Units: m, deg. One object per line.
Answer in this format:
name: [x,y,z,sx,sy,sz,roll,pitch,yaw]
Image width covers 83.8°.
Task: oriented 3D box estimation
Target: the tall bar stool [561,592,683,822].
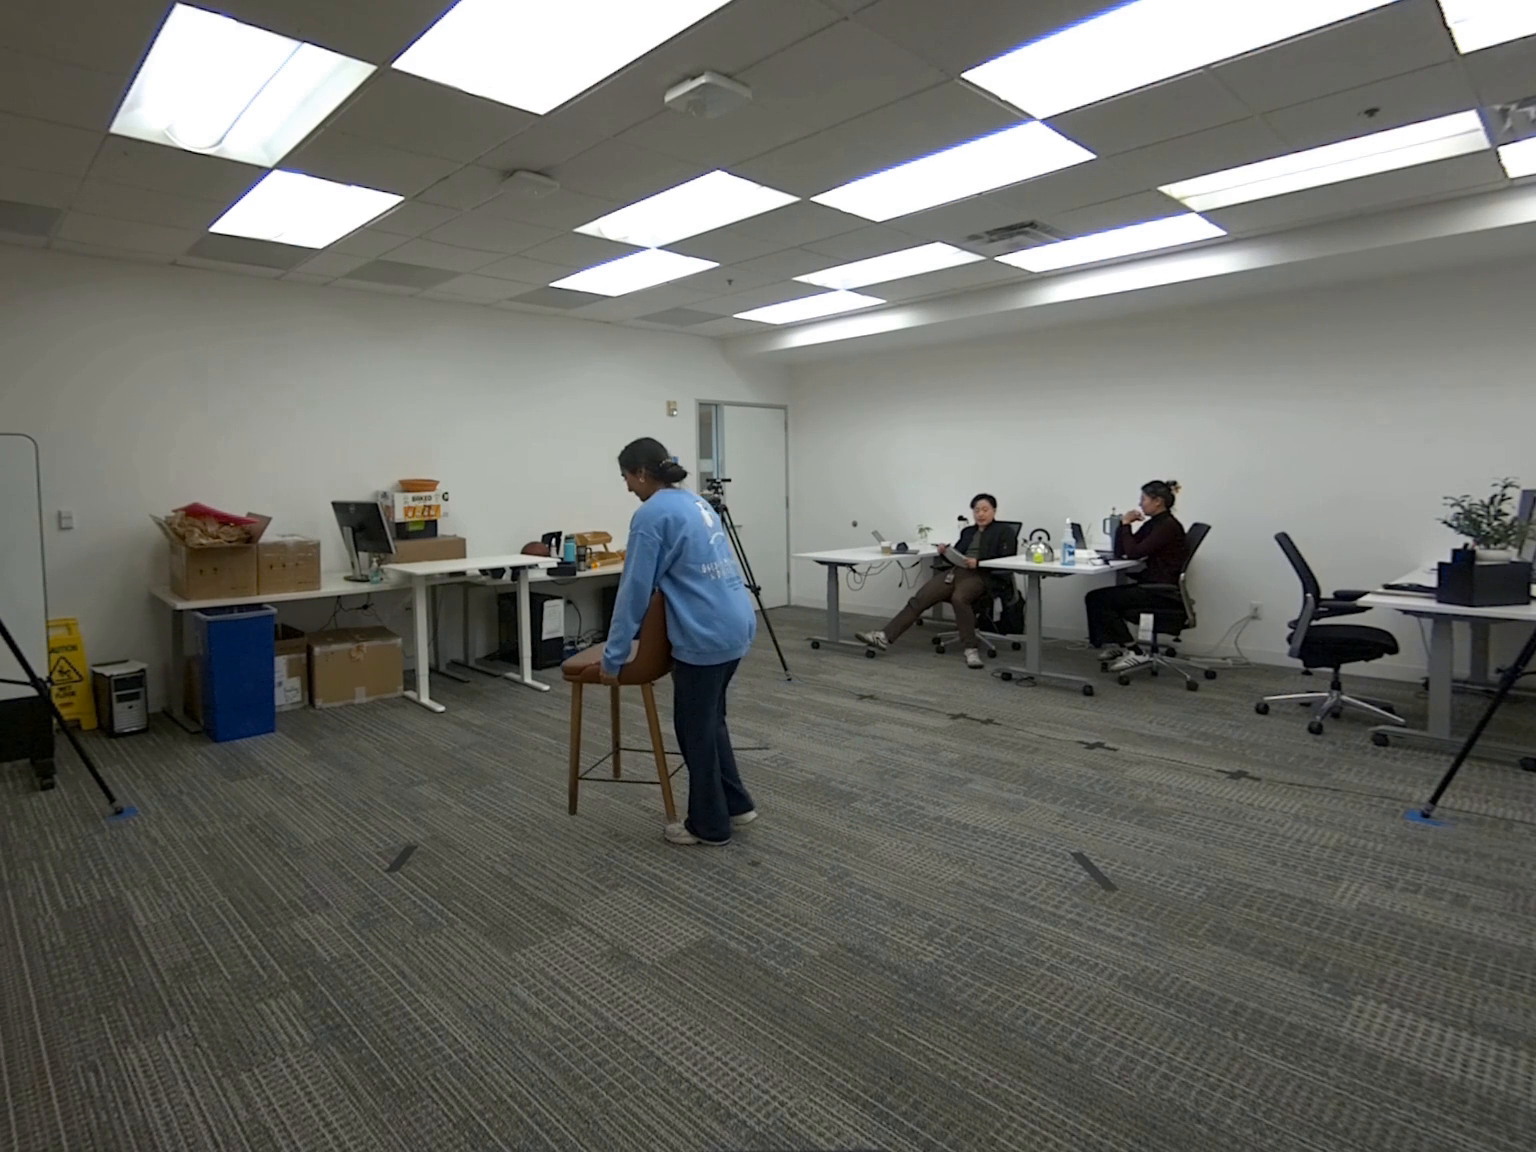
tall bar stool: [-0.543,0.479,3.415,0.477,0.884,0.450,-1,7,20]
